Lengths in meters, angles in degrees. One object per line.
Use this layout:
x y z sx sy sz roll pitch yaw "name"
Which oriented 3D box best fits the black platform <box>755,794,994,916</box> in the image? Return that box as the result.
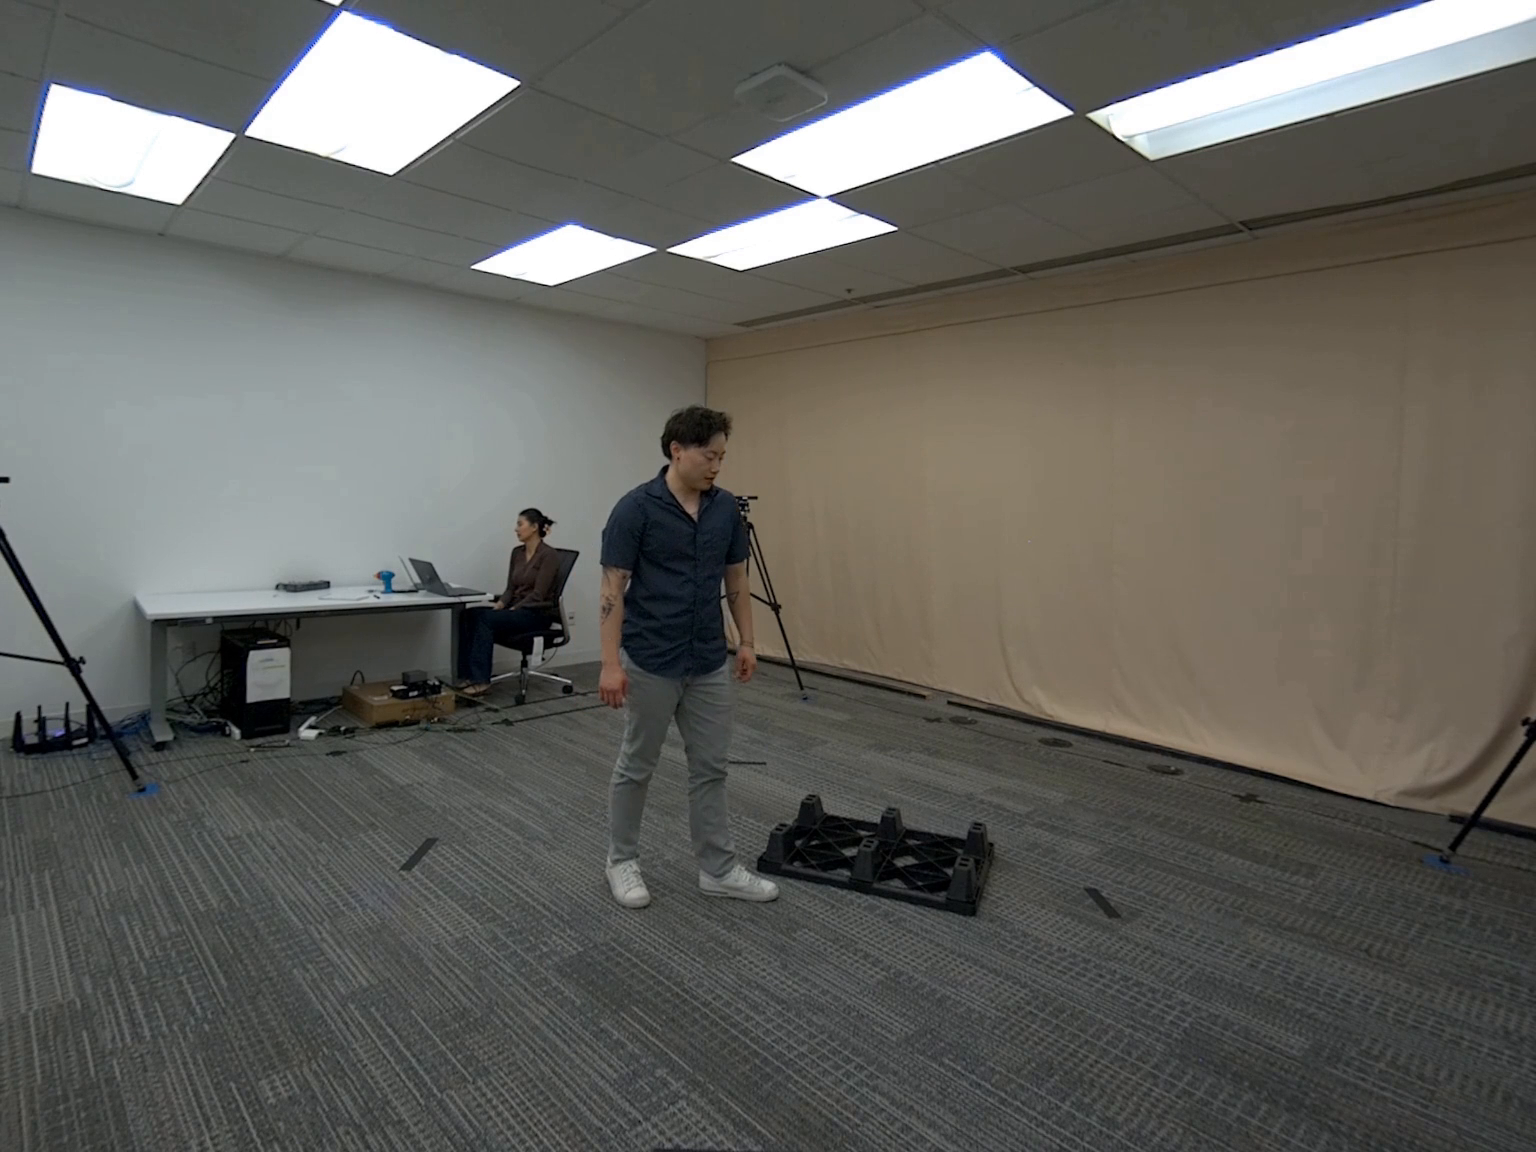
0.428 1.038 3.258 0.820 0.143 0.596 4 6 22 "black platform"
